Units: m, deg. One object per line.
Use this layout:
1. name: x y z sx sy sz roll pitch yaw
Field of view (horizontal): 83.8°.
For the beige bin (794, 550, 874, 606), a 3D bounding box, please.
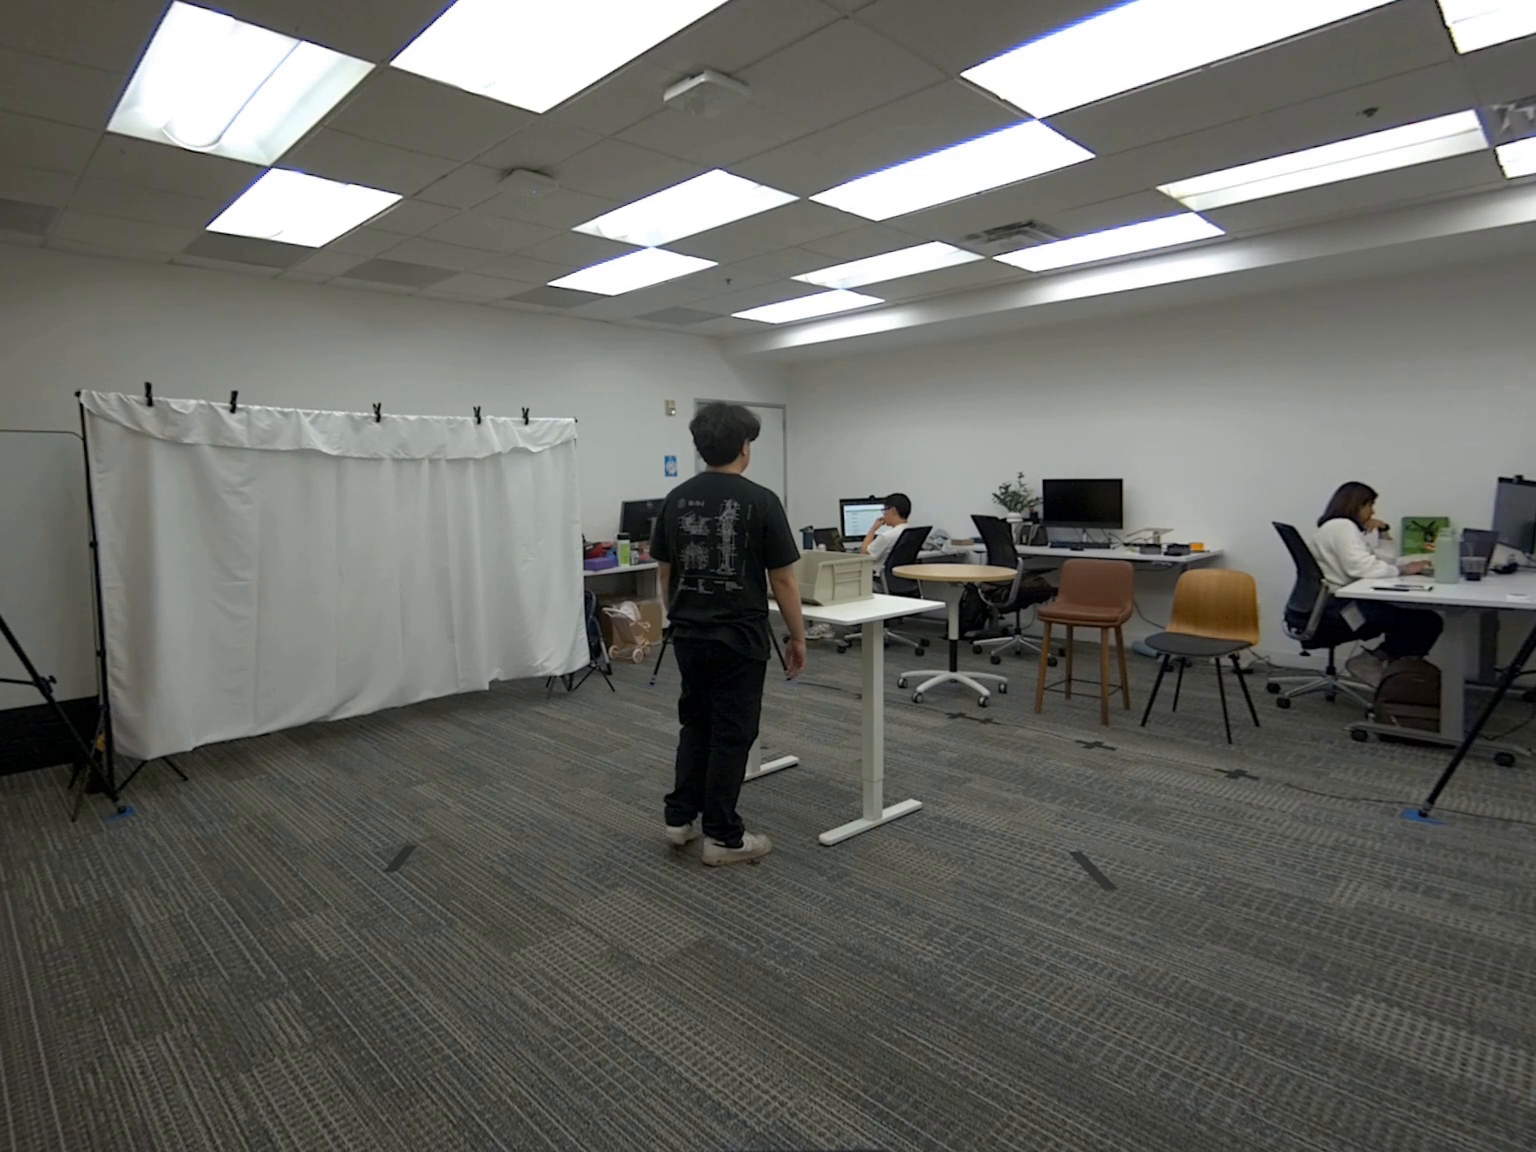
1. beige bin: 0.186 0.008 3.647 0.367 0.188 0.435 -6 8 -40
